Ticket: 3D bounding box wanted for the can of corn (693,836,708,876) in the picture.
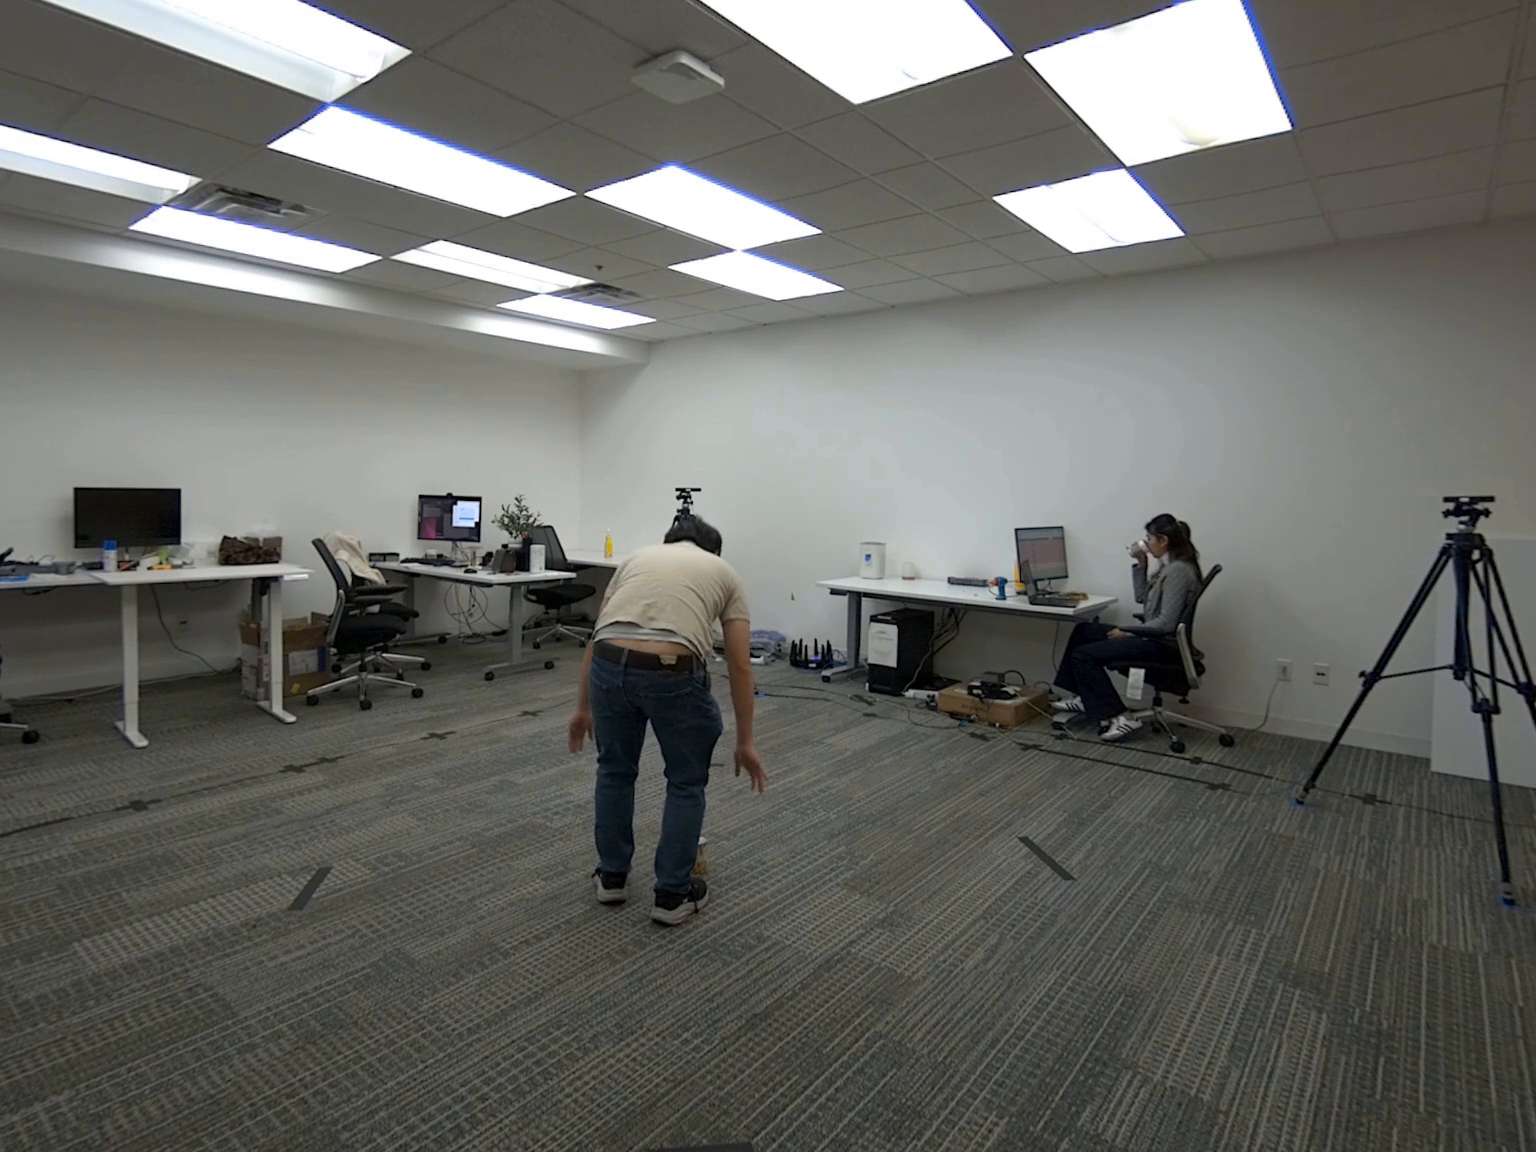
[{"bbox_3d":[-0.272,1.013,3.095,0.074,0.111,0.074,1,1,-2],"label":"can of corn"}]
